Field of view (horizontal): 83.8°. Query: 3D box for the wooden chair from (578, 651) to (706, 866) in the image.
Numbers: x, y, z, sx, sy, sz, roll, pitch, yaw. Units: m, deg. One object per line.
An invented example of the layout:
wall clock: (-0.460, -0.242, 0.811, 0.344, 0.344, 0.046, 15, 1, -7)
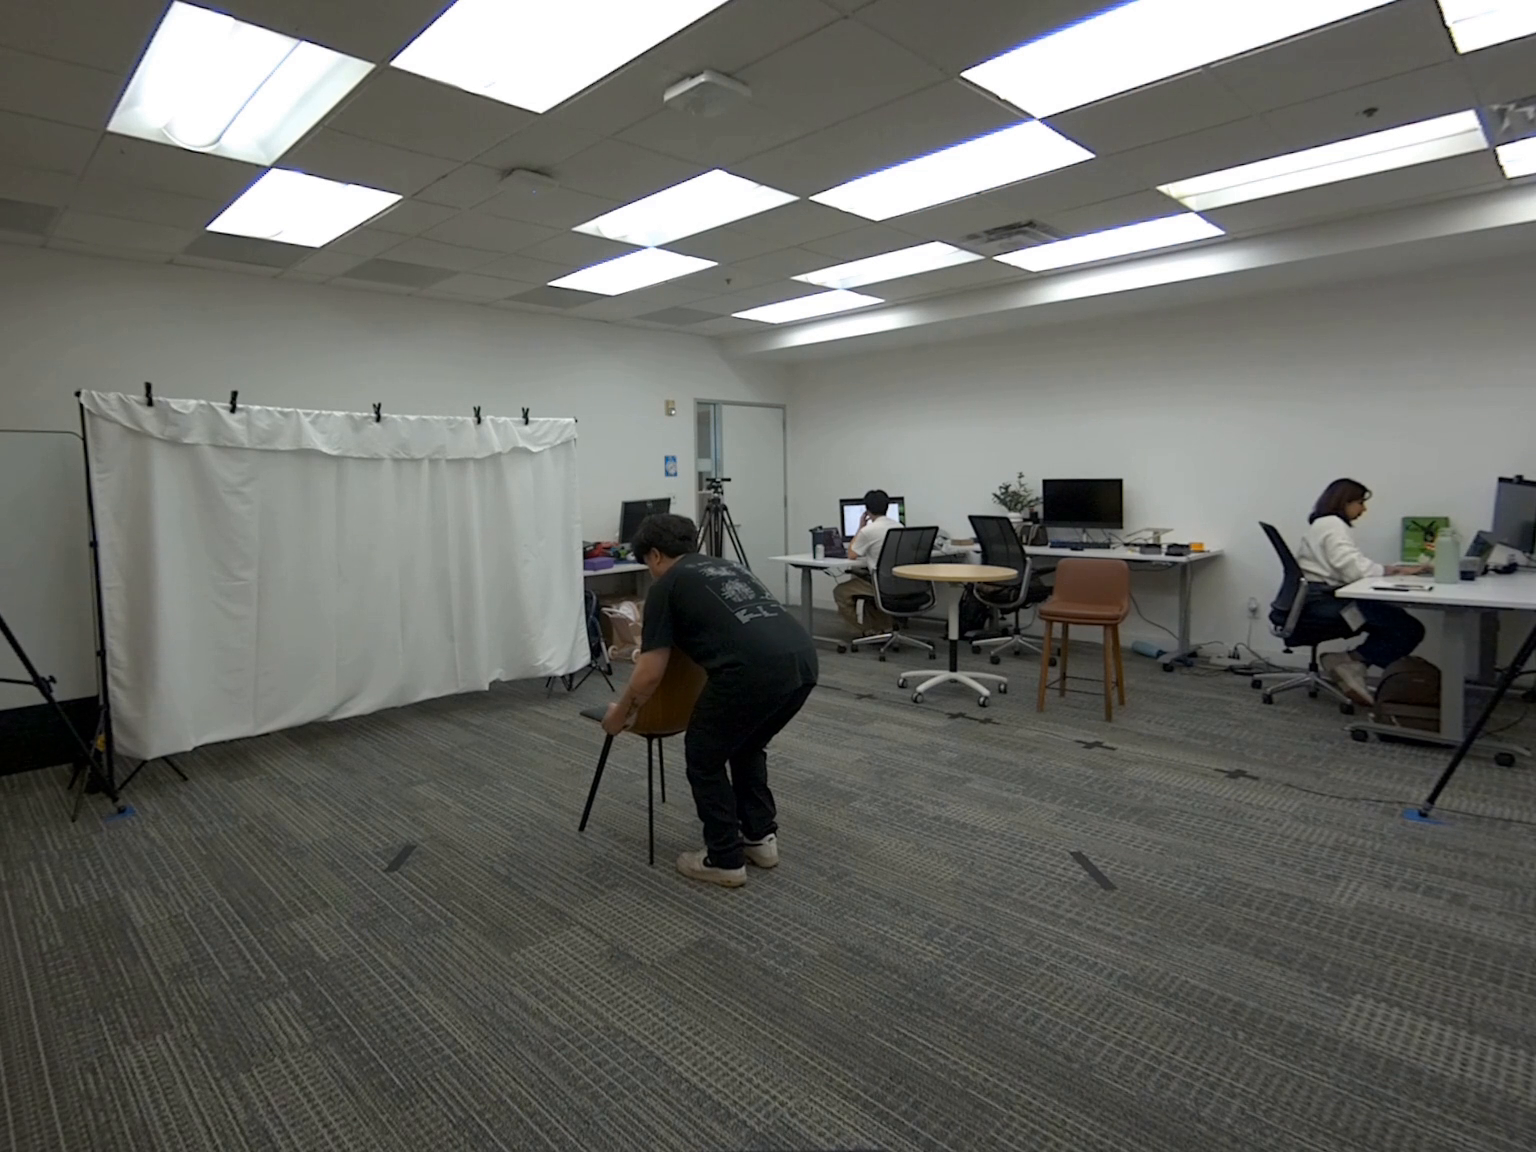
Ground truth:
wooden chair: (-0.451, 0.589, 3.385, 0.540, 0.872, 0.465, 10, 10, 42)
